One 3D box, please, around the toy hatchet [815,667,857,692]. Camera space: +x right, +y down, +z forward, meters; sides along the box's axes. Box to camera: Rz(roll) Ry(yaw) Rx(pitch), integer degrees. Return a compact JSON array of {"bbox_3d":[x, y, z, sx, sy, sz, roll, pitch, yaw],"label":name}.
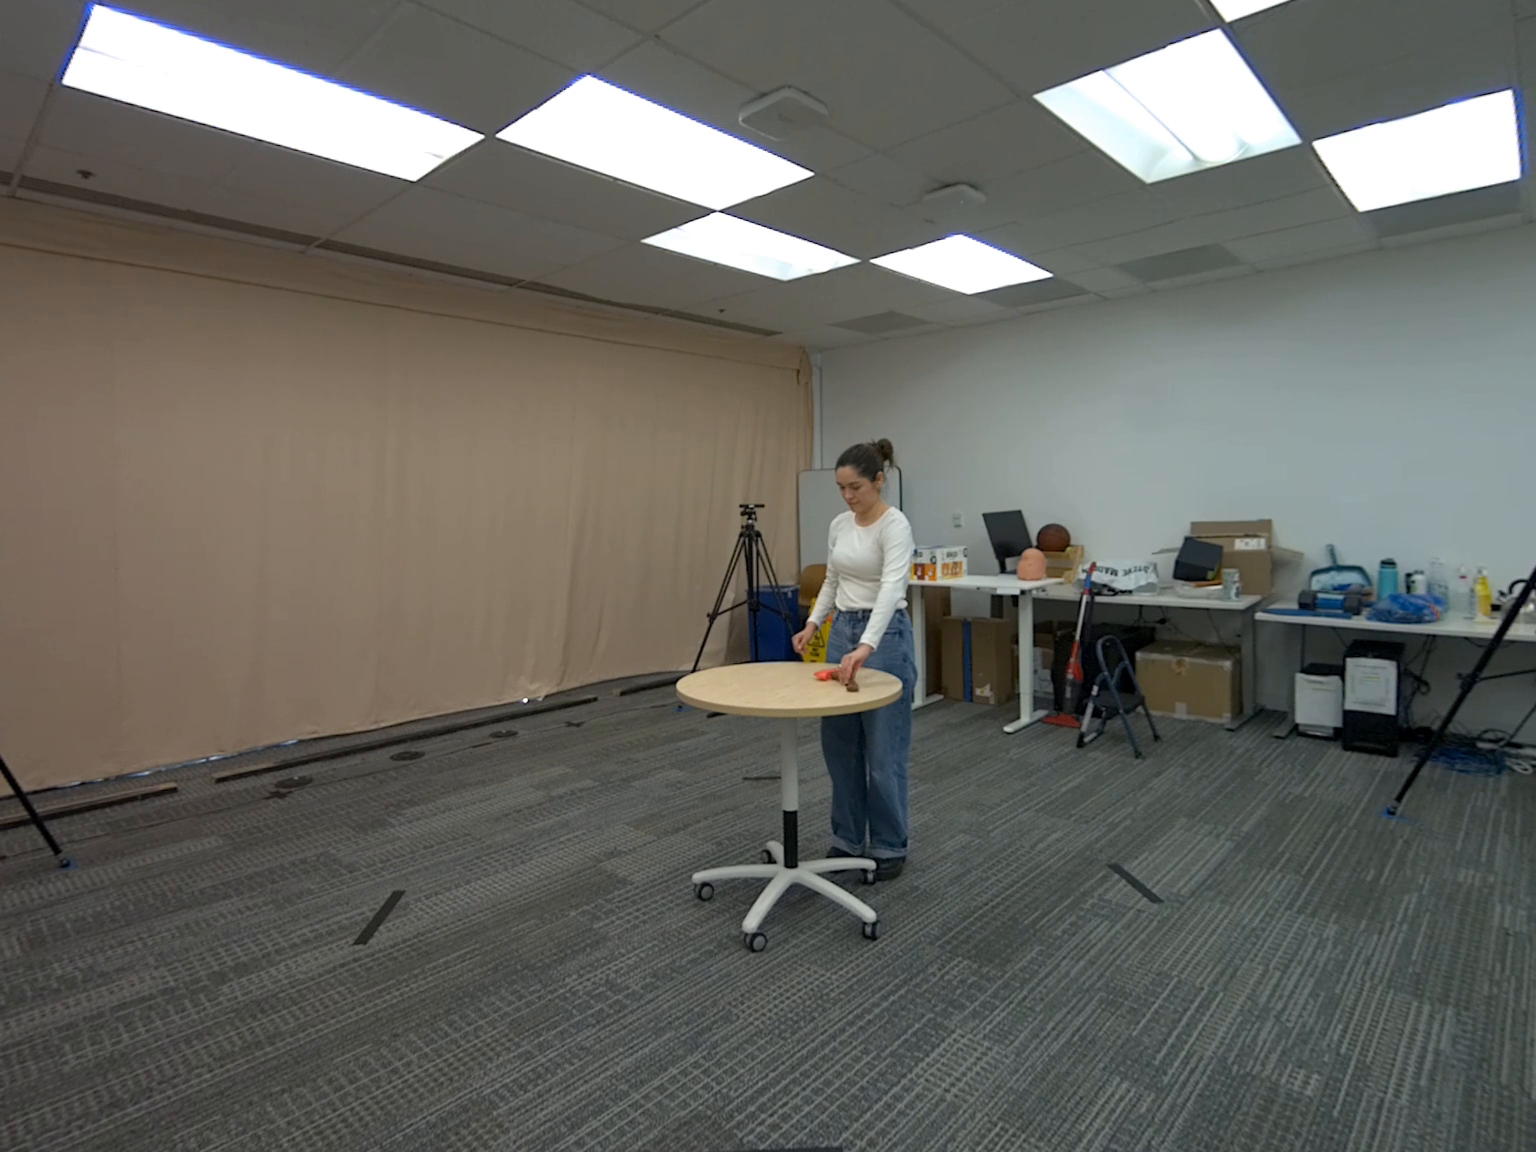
[{"bbox_3d":[0.231,0.355,2.836,0.131,0.029,0.270,0,8,2],"label":"toy hatchet"}]
